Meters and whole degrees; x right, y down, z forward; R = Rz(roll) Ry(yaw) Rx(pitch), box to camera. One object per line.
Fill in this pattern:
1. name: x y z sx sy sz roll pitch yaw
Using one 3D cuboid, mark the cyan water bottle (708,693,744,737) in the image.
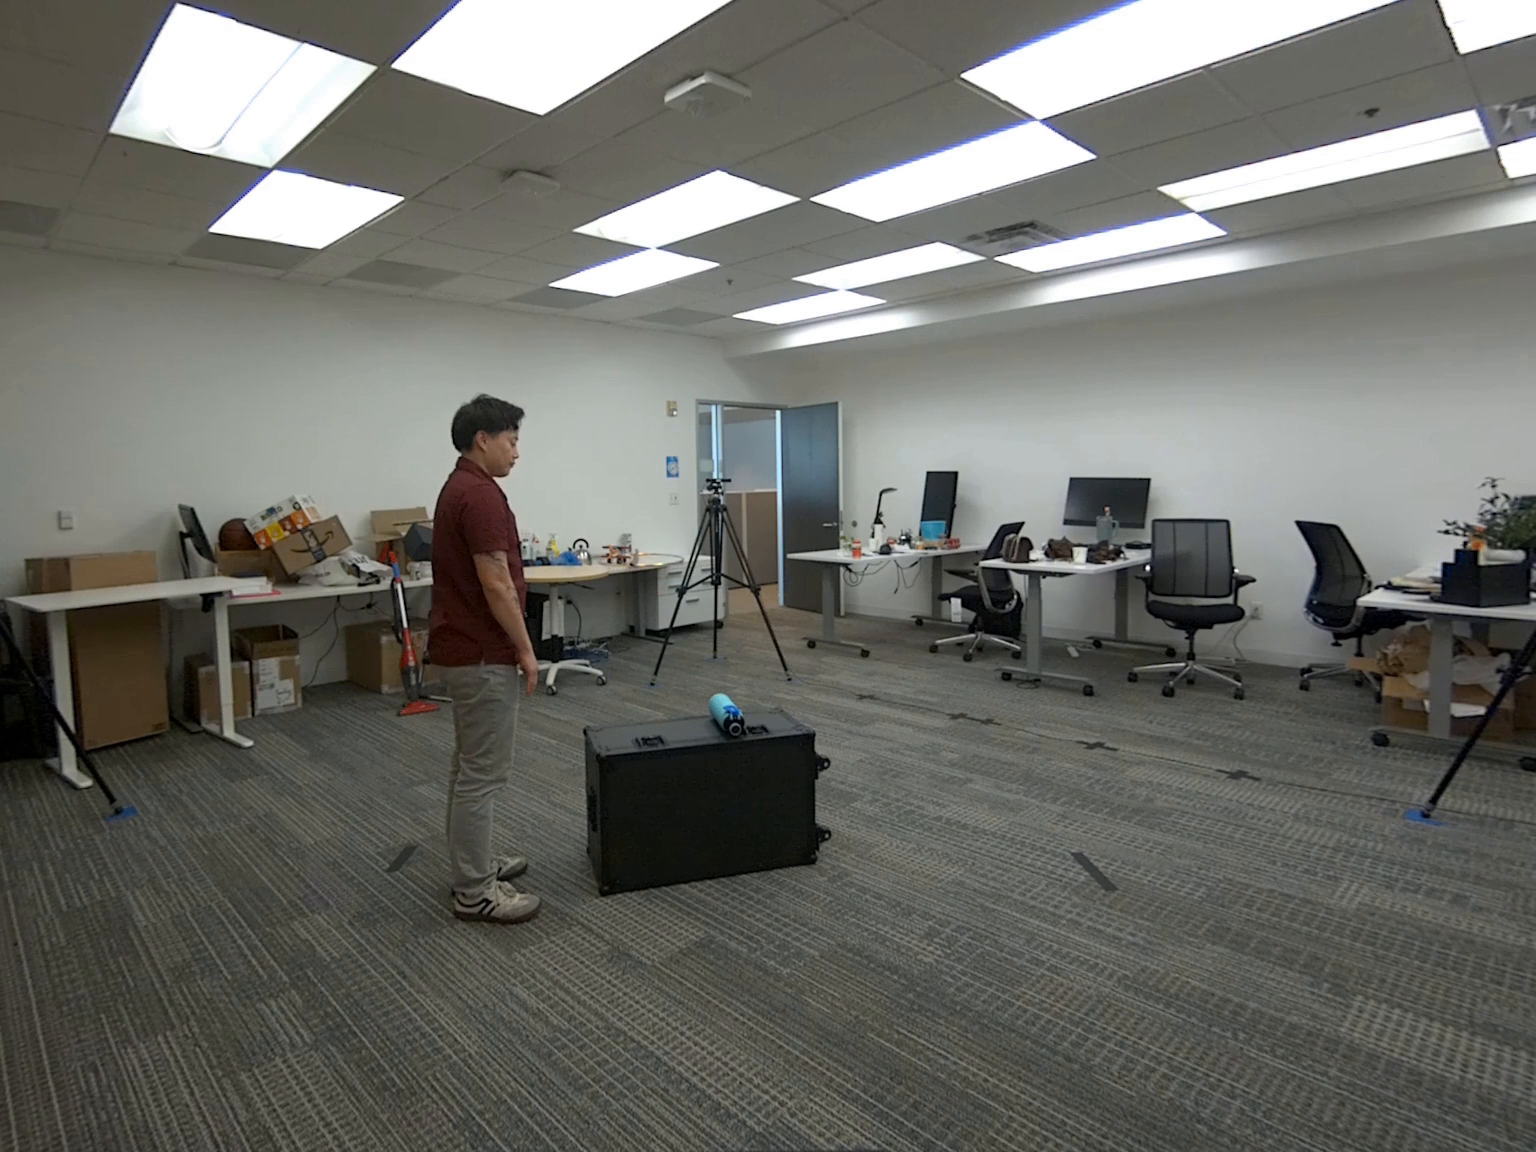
1. cyan water bottle: -0.151 0.509 3.155 0.091 0.092 0.287 -2 6 -10
